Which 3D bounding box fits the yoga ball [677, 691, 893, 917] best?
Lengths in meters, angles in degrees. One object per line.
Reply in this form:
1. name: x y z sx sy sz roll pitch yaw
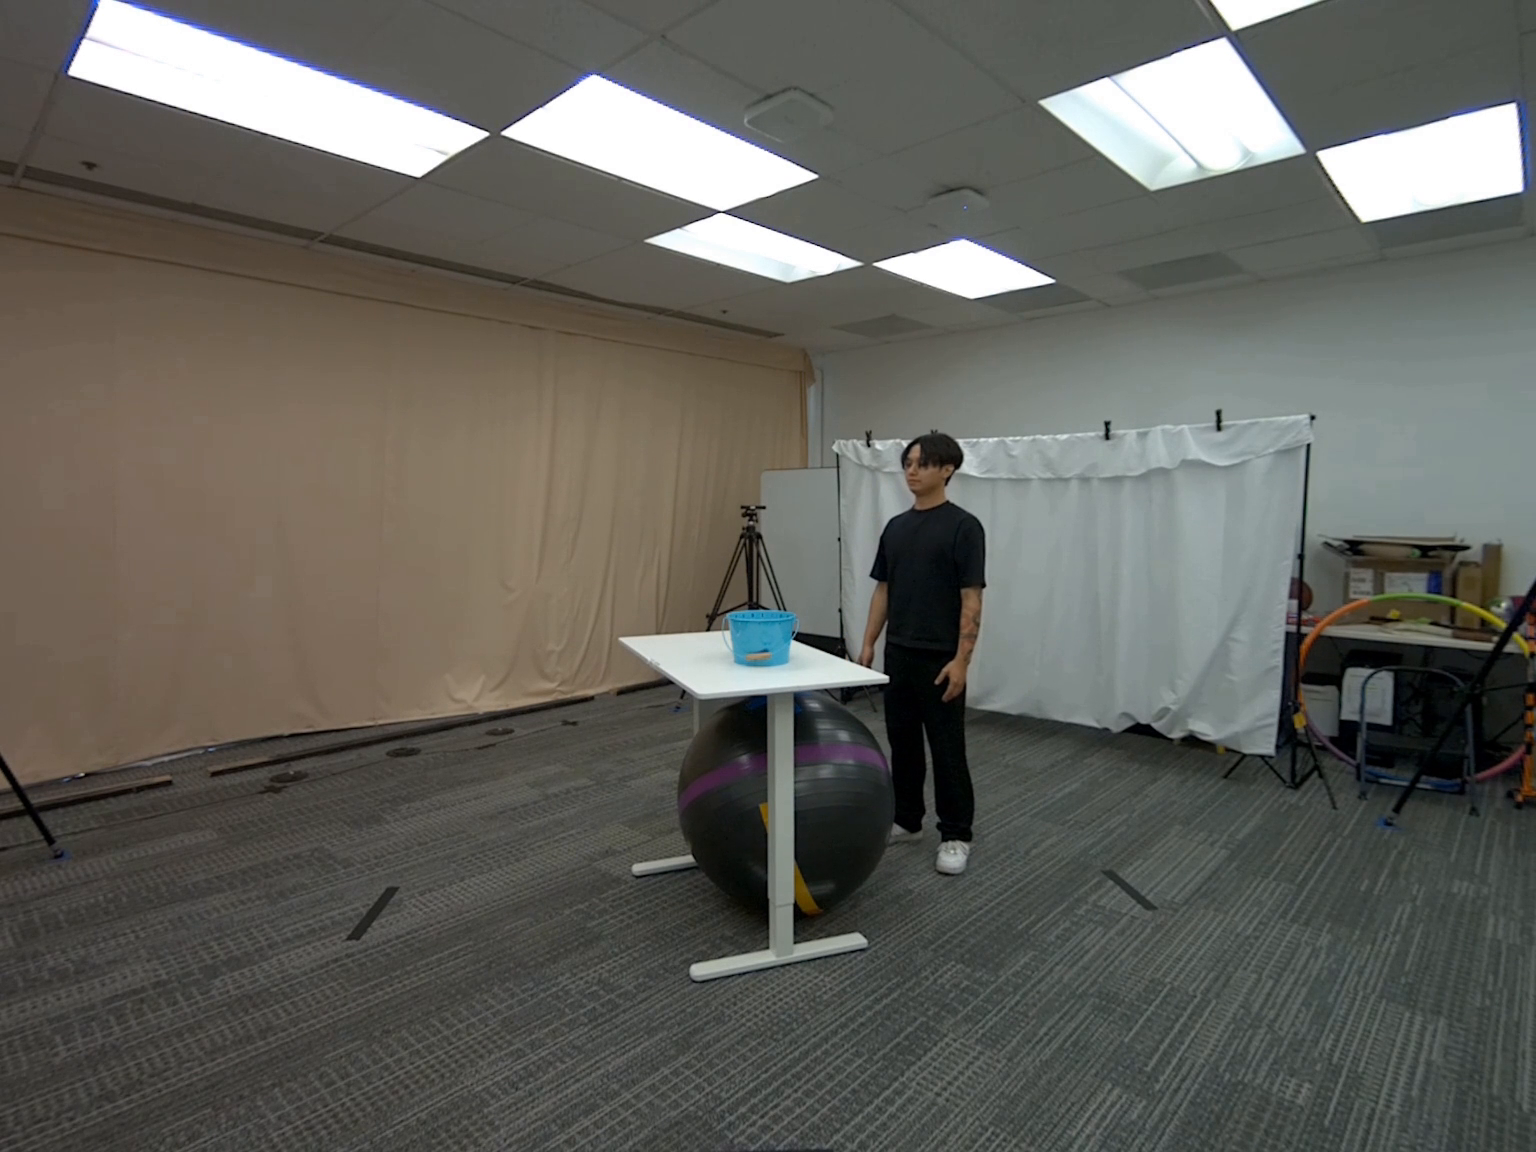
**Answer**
1. yoga ball: 0.058 0.784 2.957 0.757 0.756 0.760 0 4 -2
